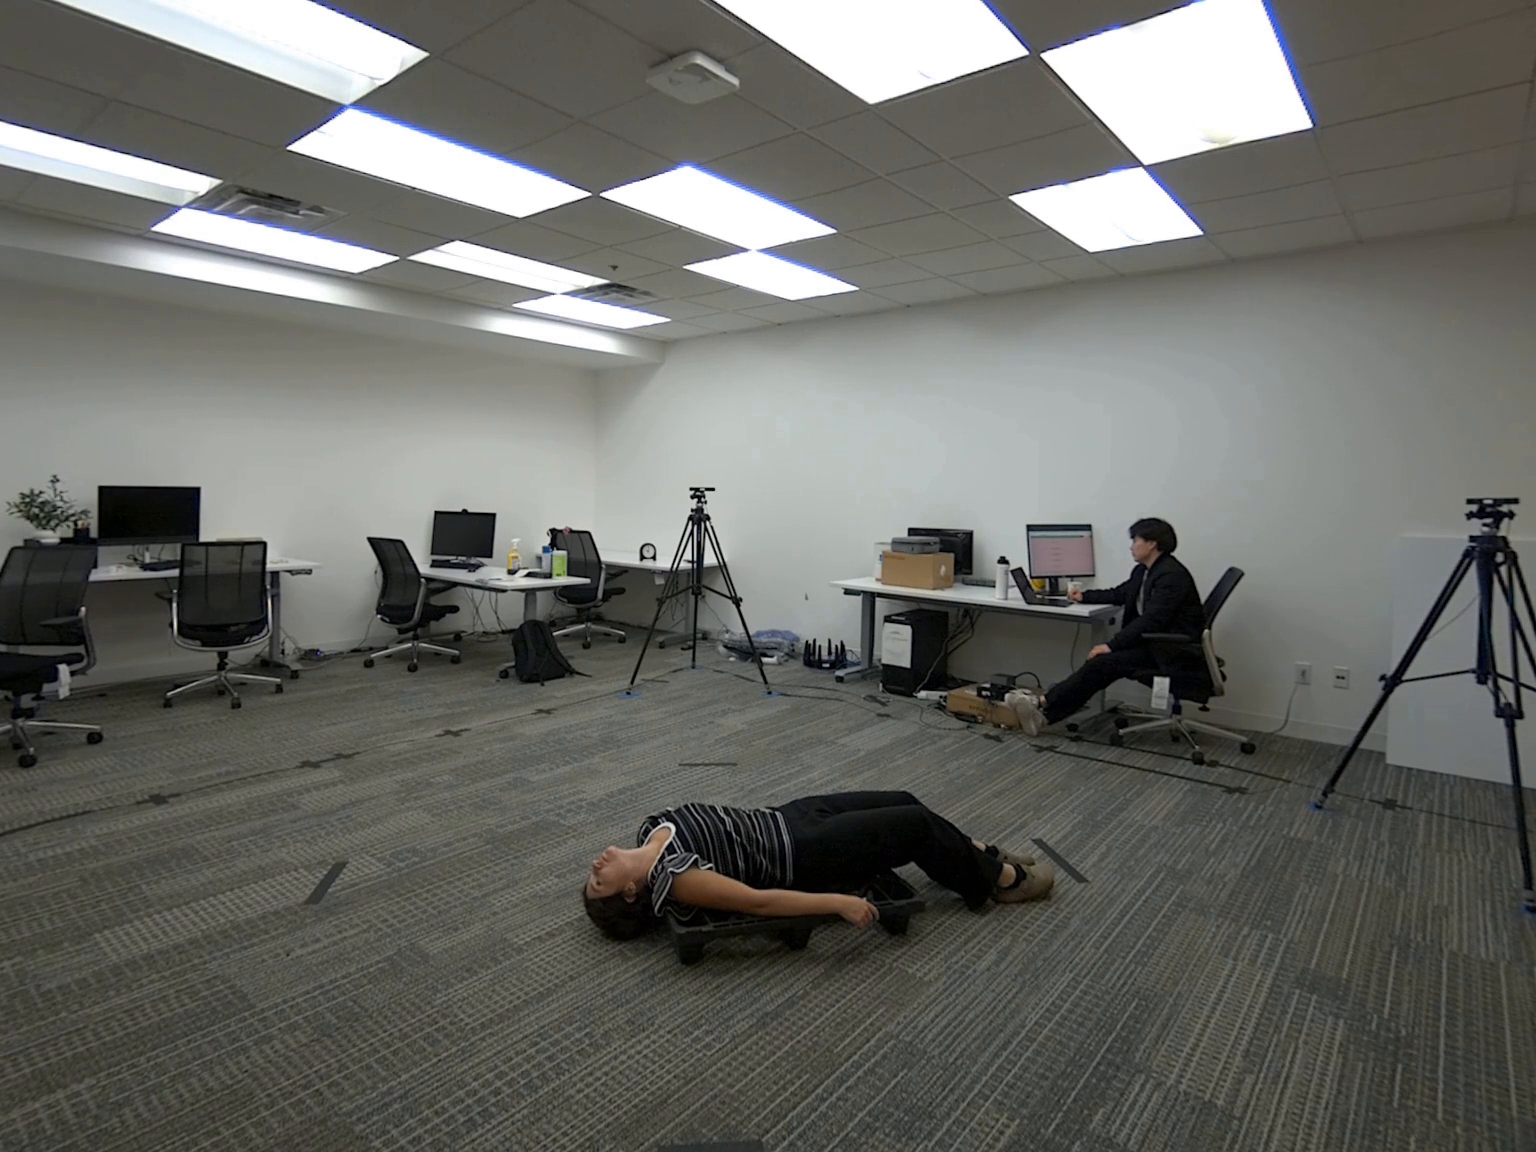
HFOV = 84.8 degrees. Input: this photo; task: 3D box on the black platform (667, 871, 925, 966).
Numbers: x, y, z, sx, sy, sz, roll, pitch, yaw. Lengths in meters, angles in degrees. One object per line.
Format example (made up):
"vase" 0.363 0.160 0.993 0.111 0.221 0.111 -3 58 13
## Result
"black platform" 0.019 1.039 2.789 0.791 0.143 0.618 0 4 -18
